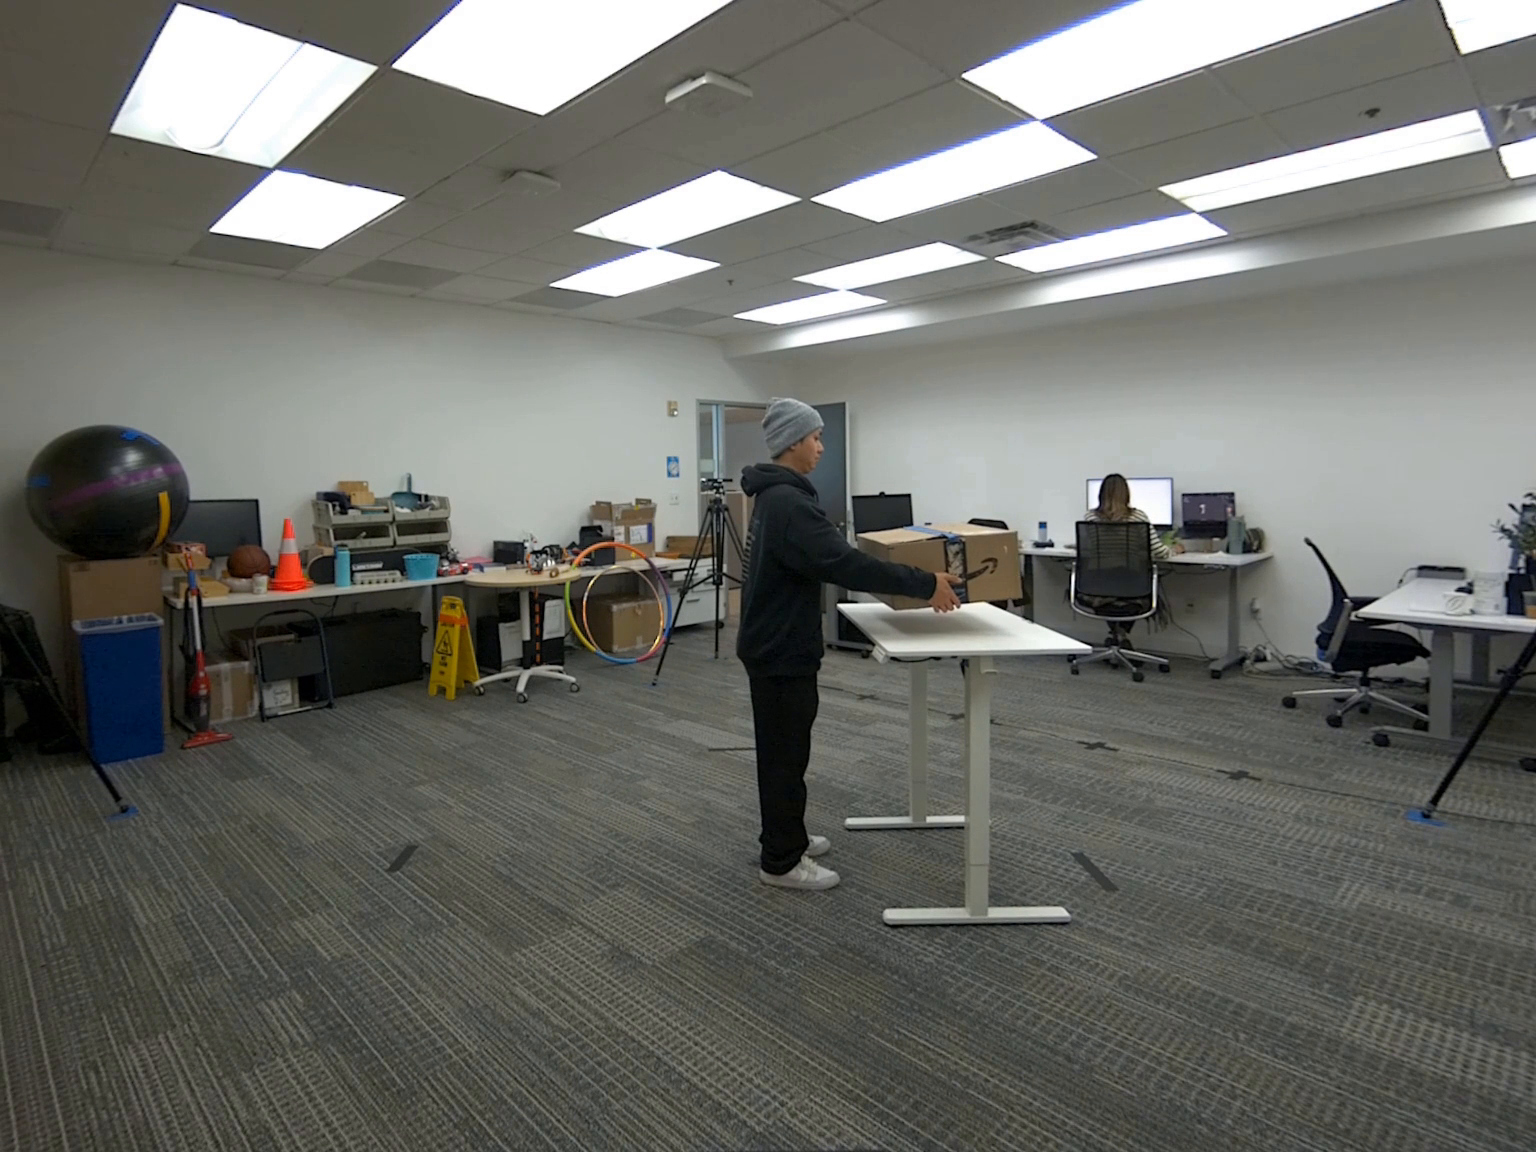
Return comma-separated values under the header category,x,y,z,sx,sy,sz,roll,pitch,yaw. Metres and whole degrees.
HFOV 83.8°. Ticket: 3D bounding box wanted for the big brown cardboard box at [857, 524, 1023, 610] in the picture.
category,x,y,z,sx,sy,sz,roll,pitch,yaw
big brown cardboard box,0.565,-0.043,2.985,0.417,0.232,0.592,-6,5,-3
